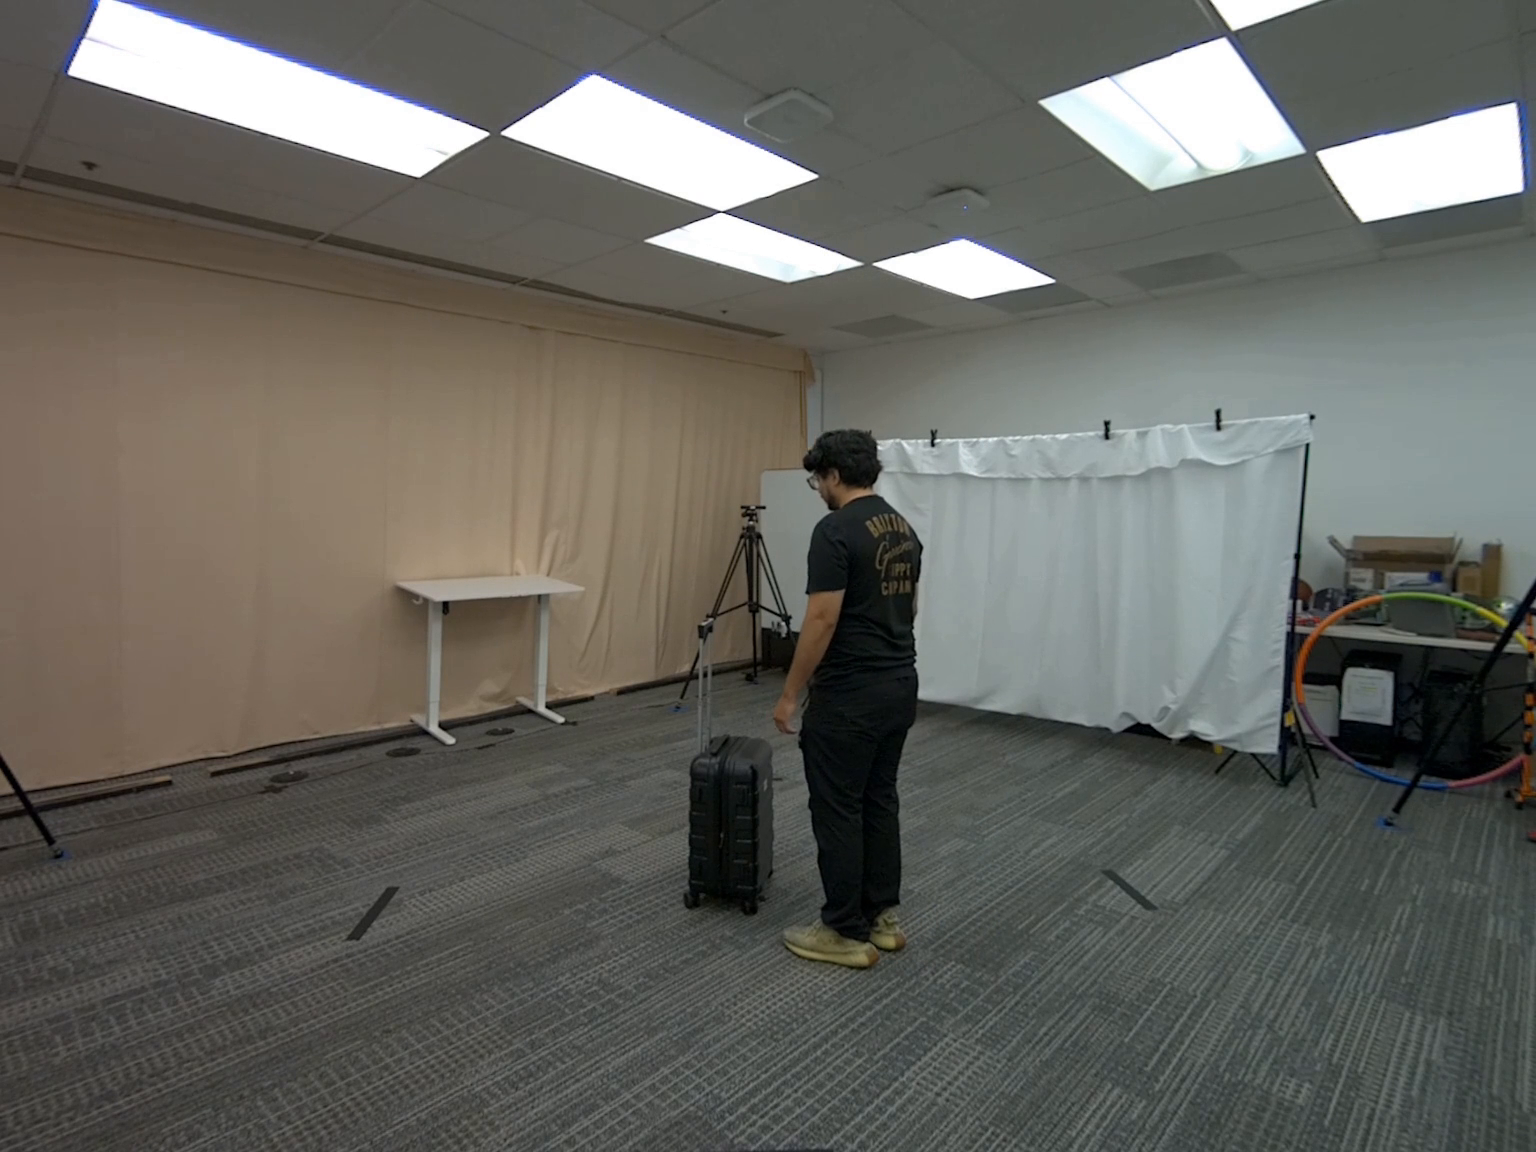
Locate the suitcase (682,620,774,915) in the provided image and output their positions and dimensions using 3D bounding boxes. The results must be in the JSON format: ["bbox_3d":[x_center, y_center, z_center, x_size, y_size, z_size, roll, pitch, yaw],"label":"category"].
[{"bbox_3d":[-0.117,0.665,2.999,0.260,0.976,0.380,4,5,11],"label":"suitcase"}]
